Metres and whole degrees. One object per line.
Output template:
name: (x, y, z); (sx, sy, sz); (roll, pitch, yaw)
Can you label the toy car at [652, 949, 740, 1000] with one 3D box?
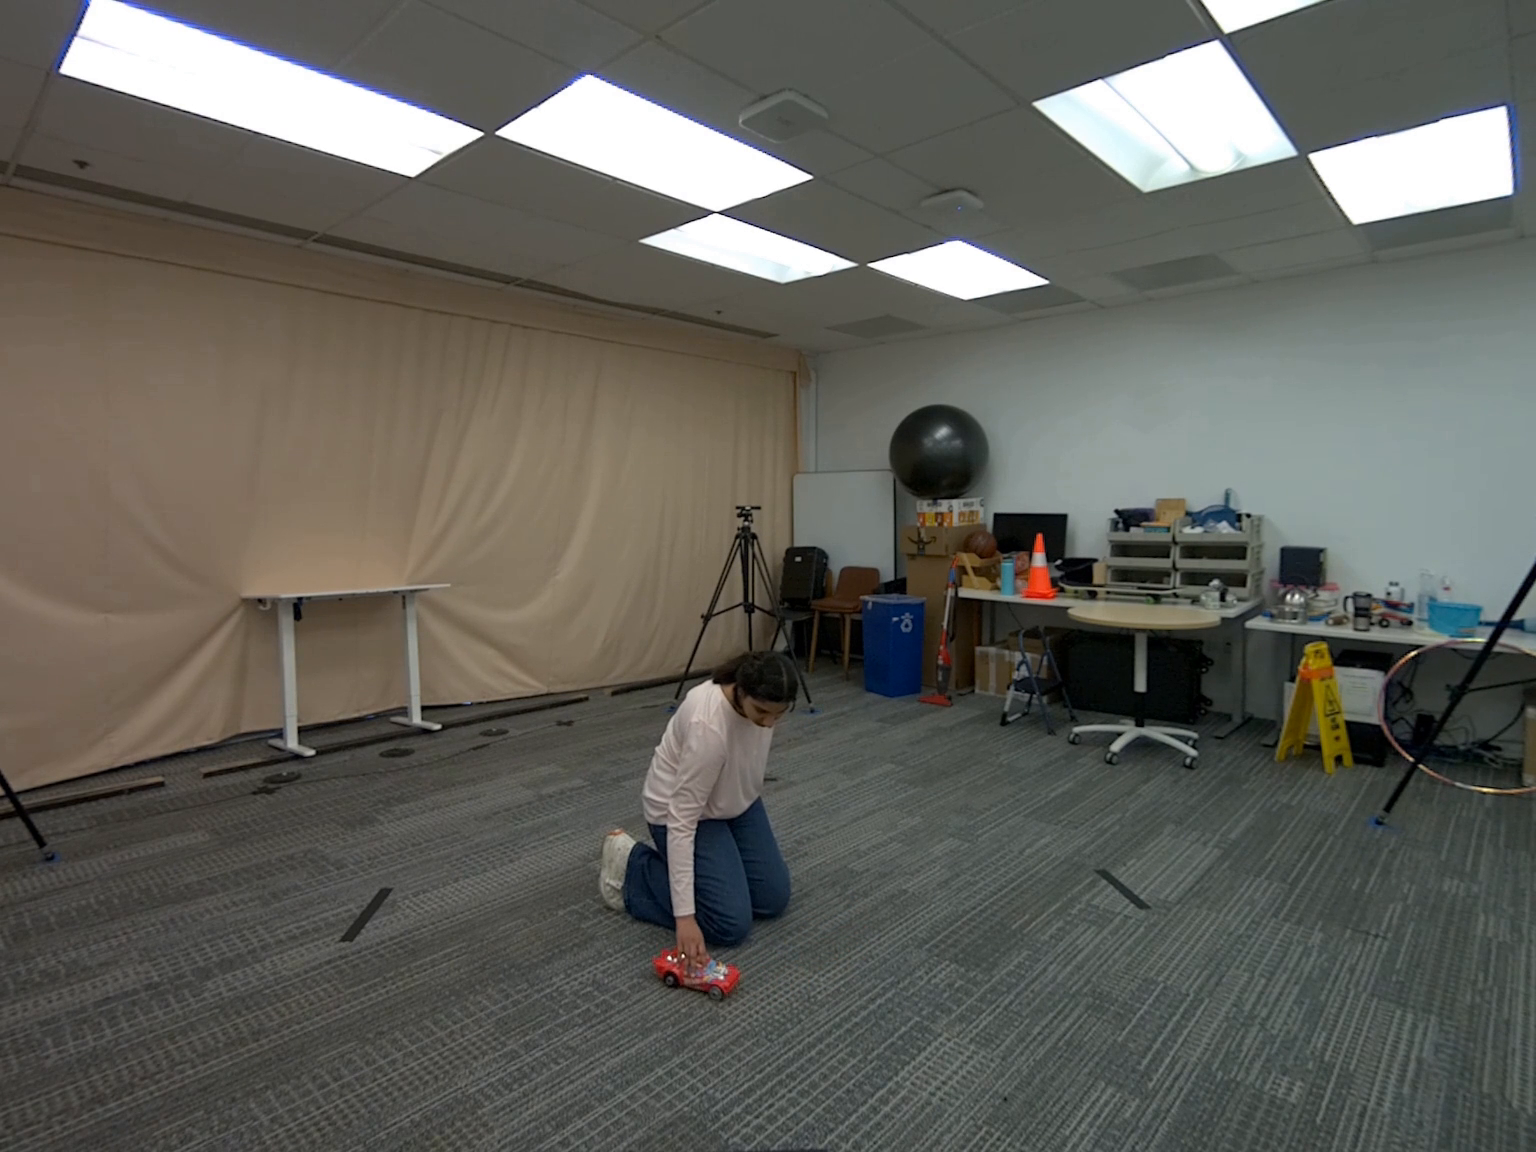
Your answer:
toy car: (-0.215, 1.152, 2.461); (0.261, 0.083, 0.127); (14, 11, 24)
